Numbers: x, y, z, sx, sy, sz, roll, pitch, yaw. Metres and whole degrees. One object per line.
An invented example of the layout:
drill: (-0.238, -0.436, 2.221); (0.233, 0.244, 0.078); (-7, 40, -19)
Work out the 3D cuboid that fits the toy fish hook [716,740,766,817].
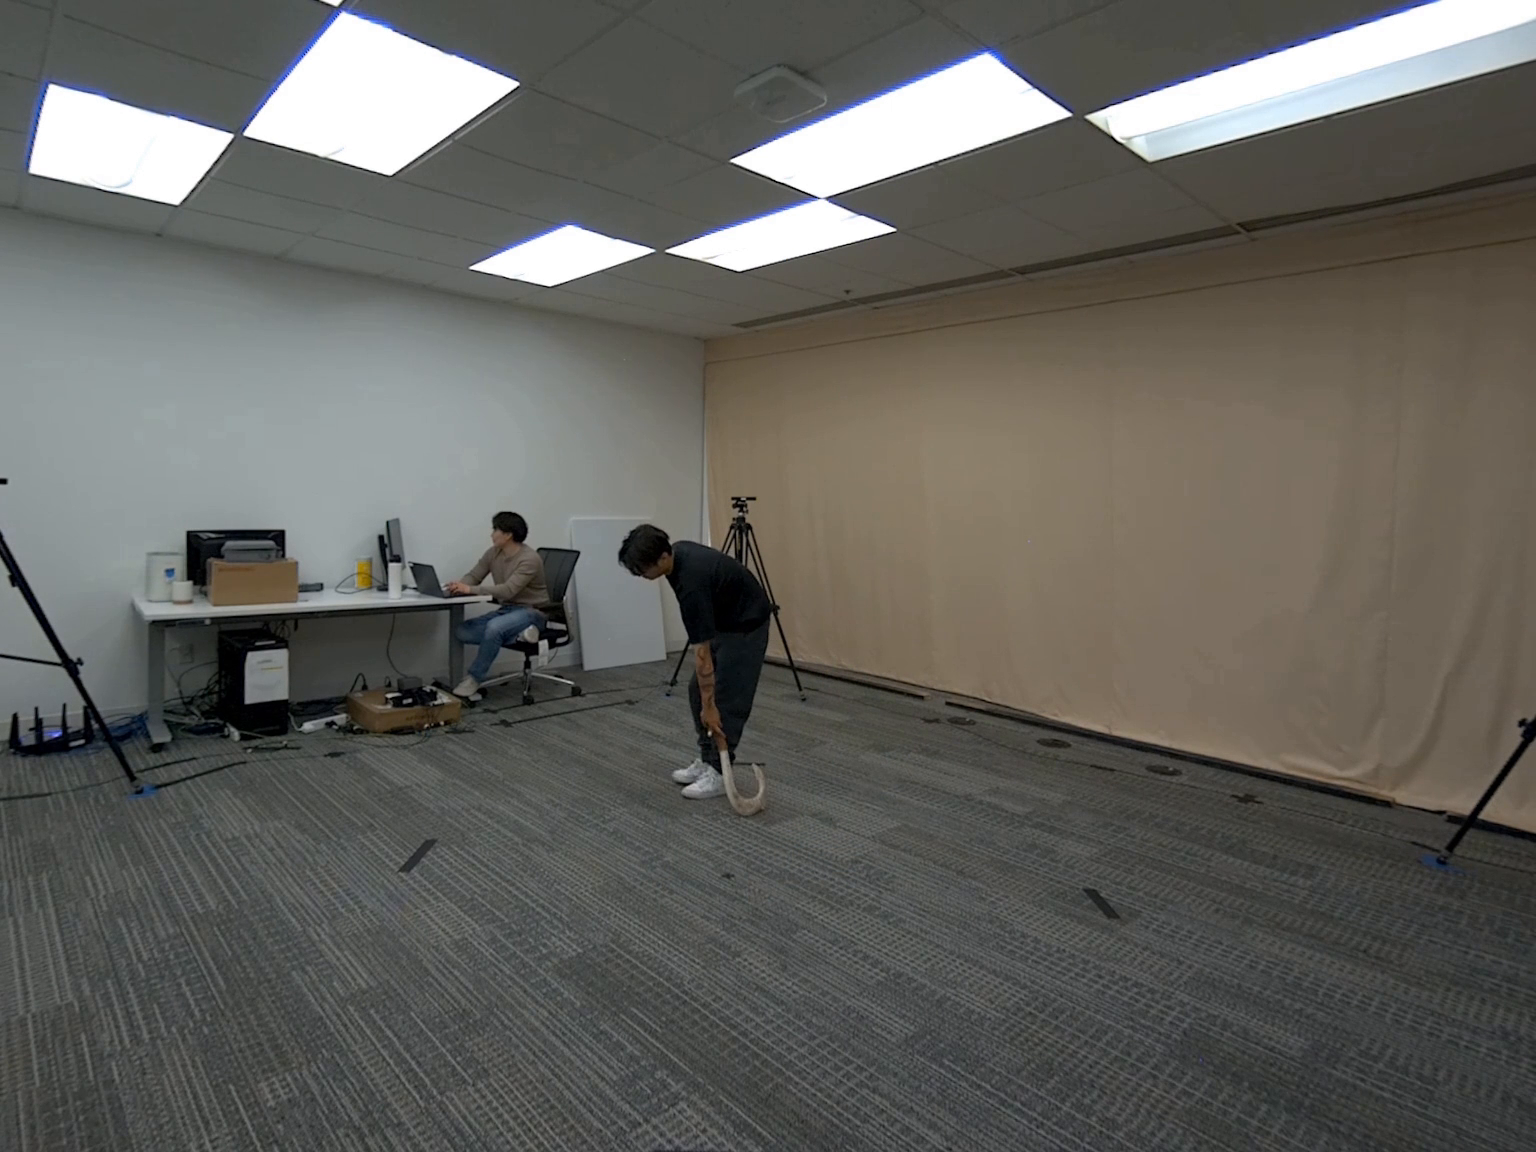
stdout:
toy fish hook: (-0.157, 0.824, 3.778); (0.049, 0.511, 0.220); (-29, -11, 40)
